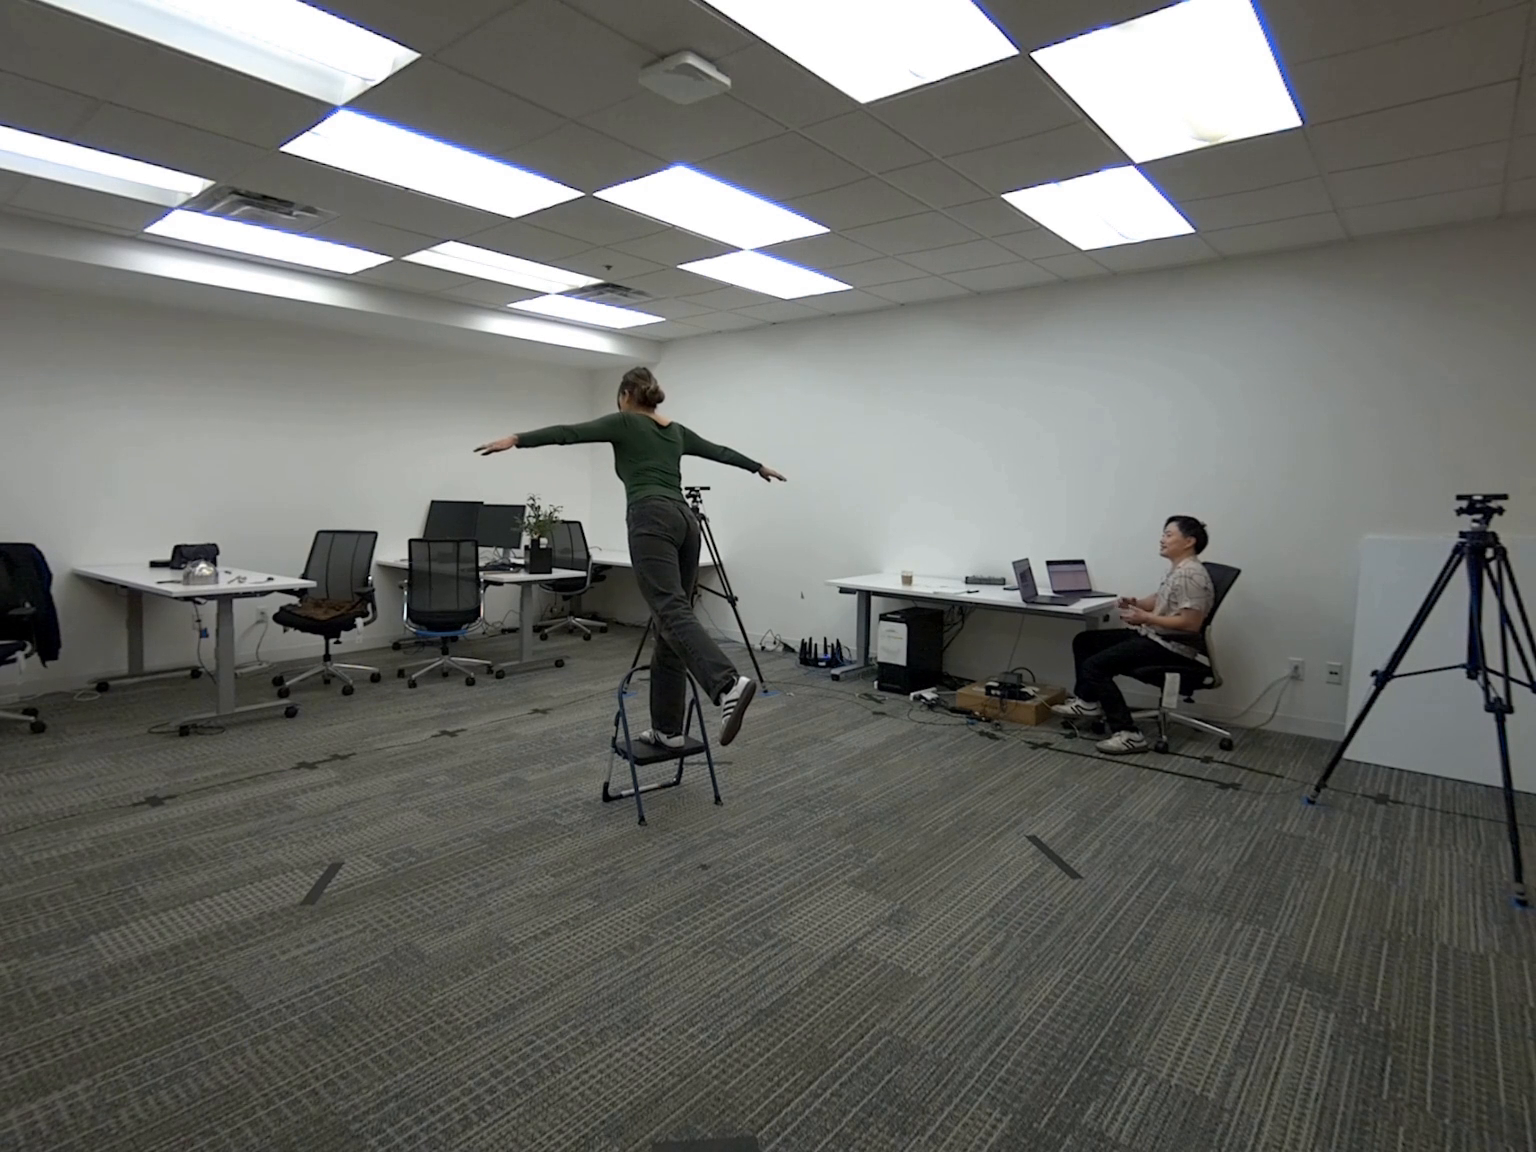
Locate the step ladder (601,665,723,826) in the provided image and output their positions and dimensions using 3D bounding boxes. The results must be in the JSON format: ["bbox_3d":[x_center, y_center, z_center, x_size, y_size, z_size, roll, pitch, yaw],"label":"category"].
[{"bbox_3d":[-0.476,0.698,3.739,0.418,0.604,0.361,-2,4,-40],"label":"step ladder"}]
